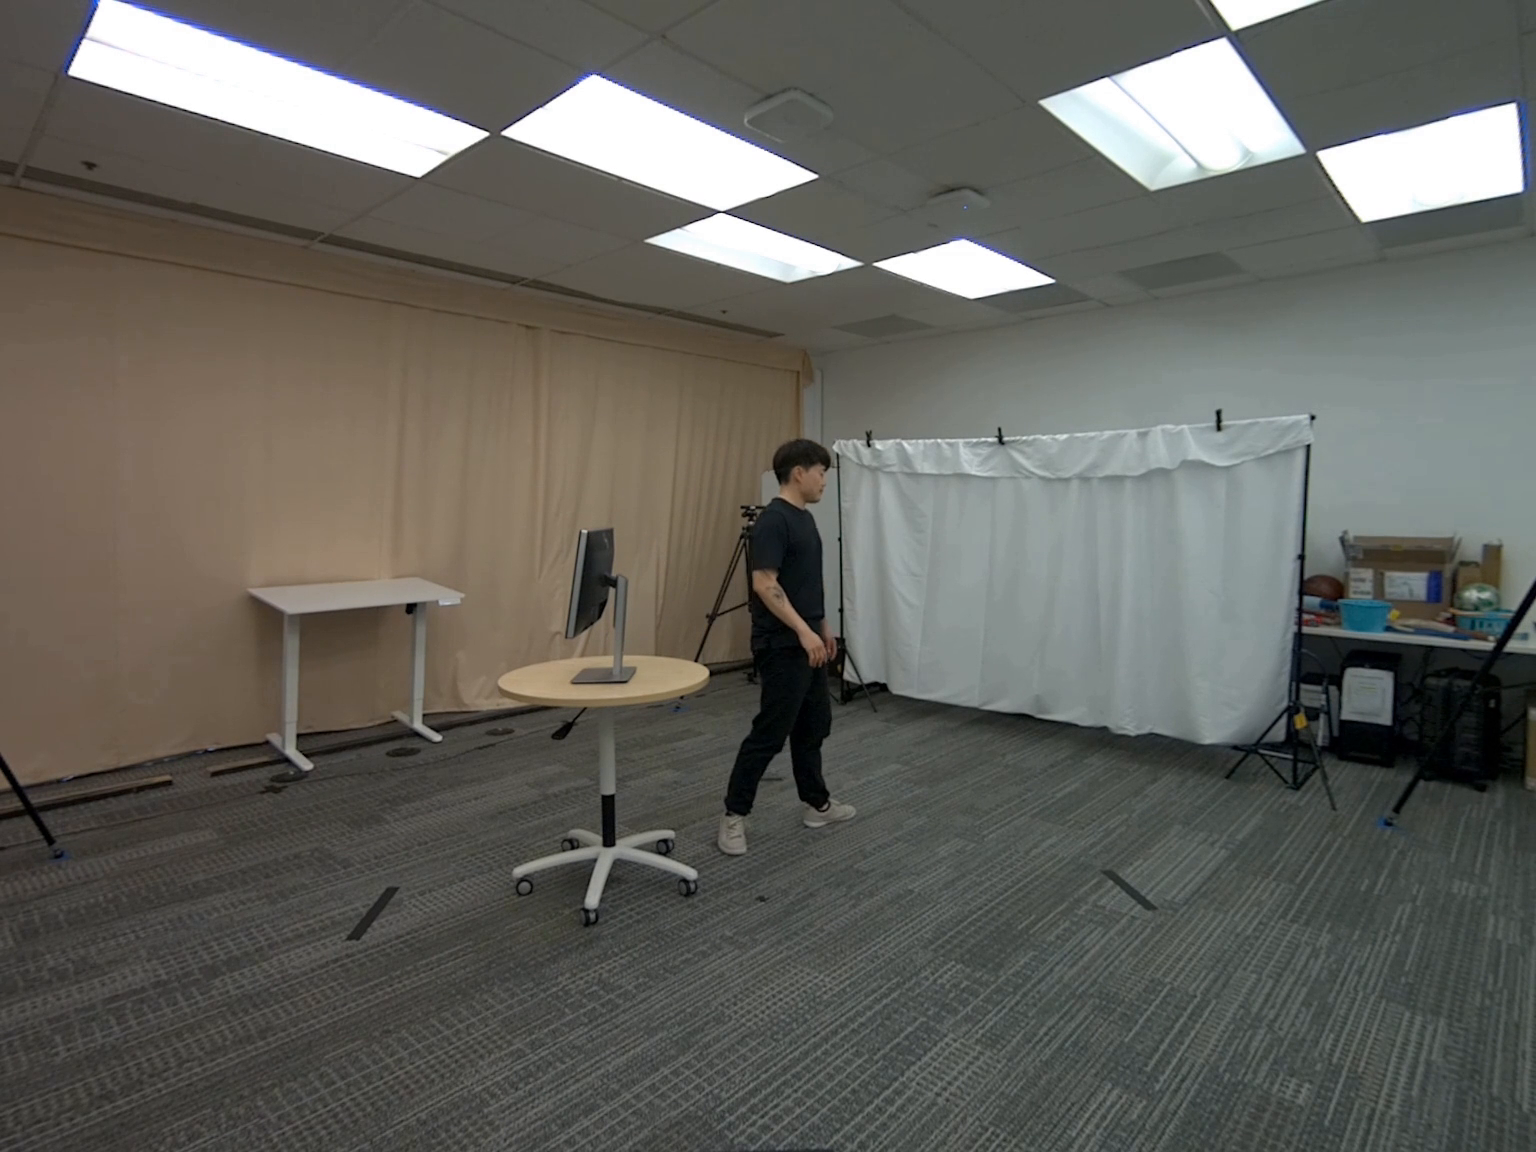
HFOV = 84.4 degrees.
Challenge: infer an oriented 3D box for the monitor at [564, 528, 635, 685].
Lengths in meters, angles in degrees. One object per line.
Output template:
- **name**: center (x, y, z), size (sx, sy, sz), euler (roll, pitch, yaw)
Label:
- **monitor**: center (-0.590, 0.102, 3.034), size (0.187, 0.521, 0.540), euler (-3, 3, -2)
